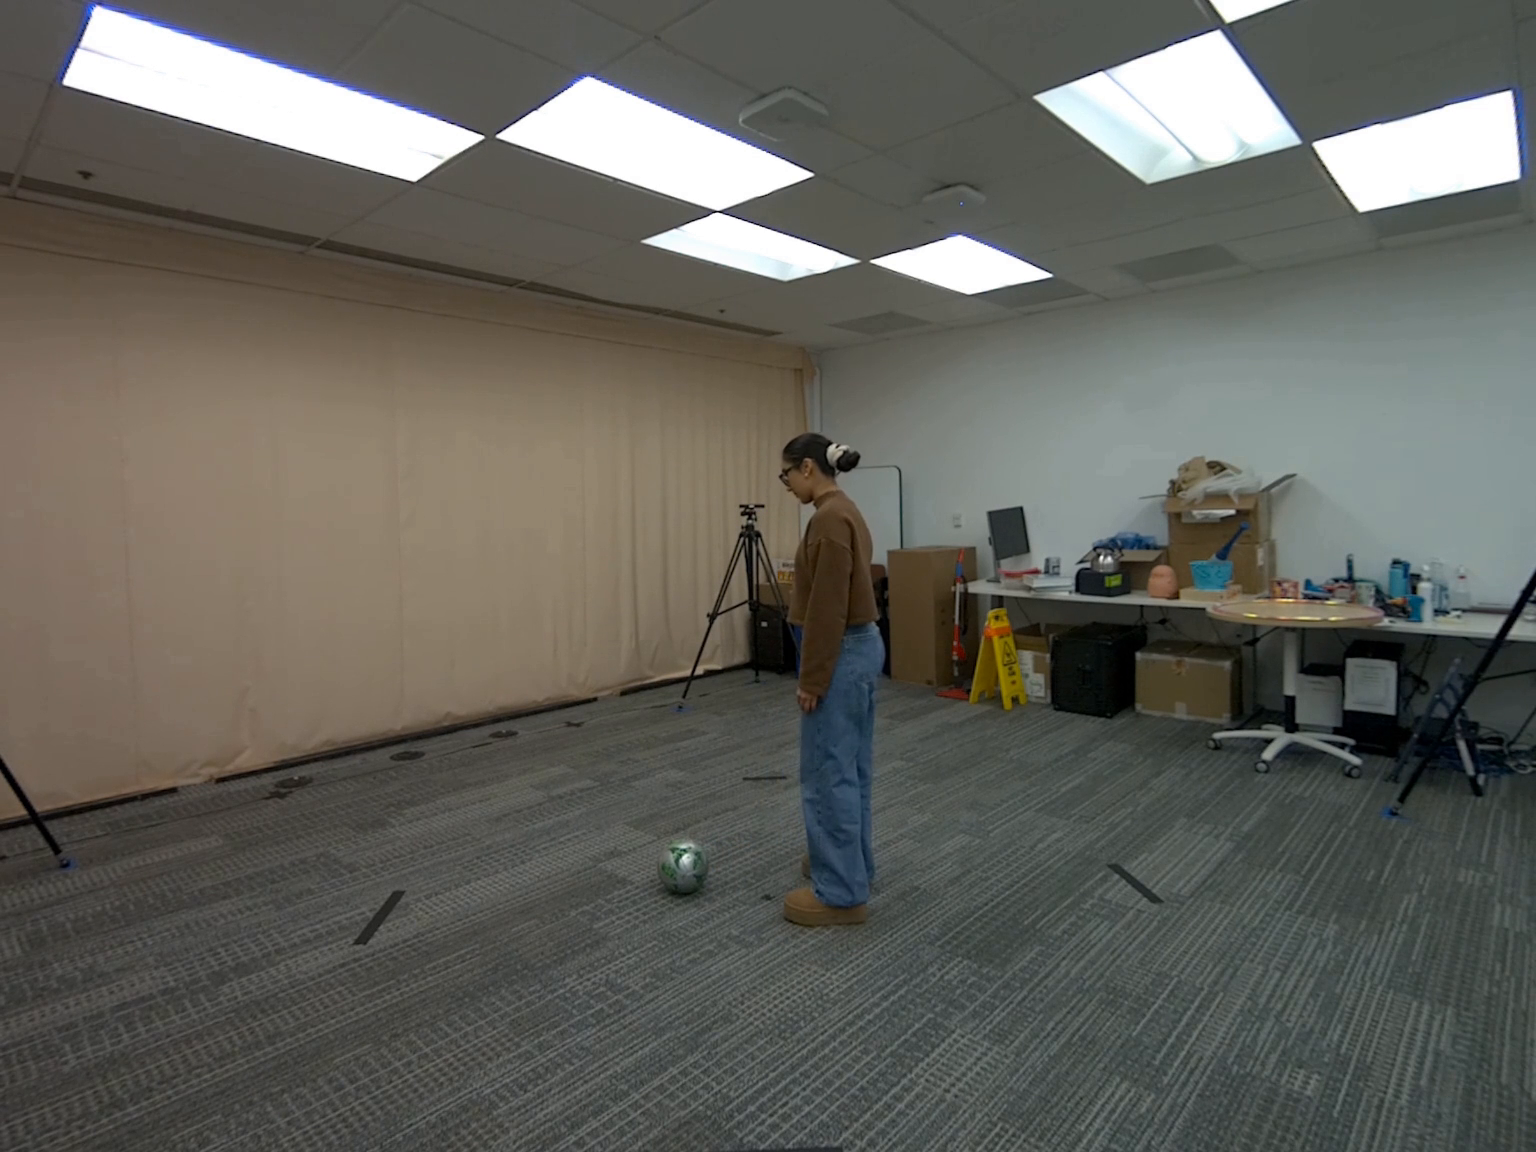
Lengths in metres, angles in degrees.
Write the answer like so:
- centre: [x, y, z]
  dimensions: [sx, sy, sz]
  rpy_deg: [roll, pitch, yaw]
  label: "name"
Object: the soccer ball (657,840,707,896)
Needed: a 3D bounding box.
- centre: [-0.306, 1.049, 3.046]
  dimensions: [0.187, 0.187, 0.188]
  rpy_deg: [-1, 4, -2]
  label: "soccer ball"
